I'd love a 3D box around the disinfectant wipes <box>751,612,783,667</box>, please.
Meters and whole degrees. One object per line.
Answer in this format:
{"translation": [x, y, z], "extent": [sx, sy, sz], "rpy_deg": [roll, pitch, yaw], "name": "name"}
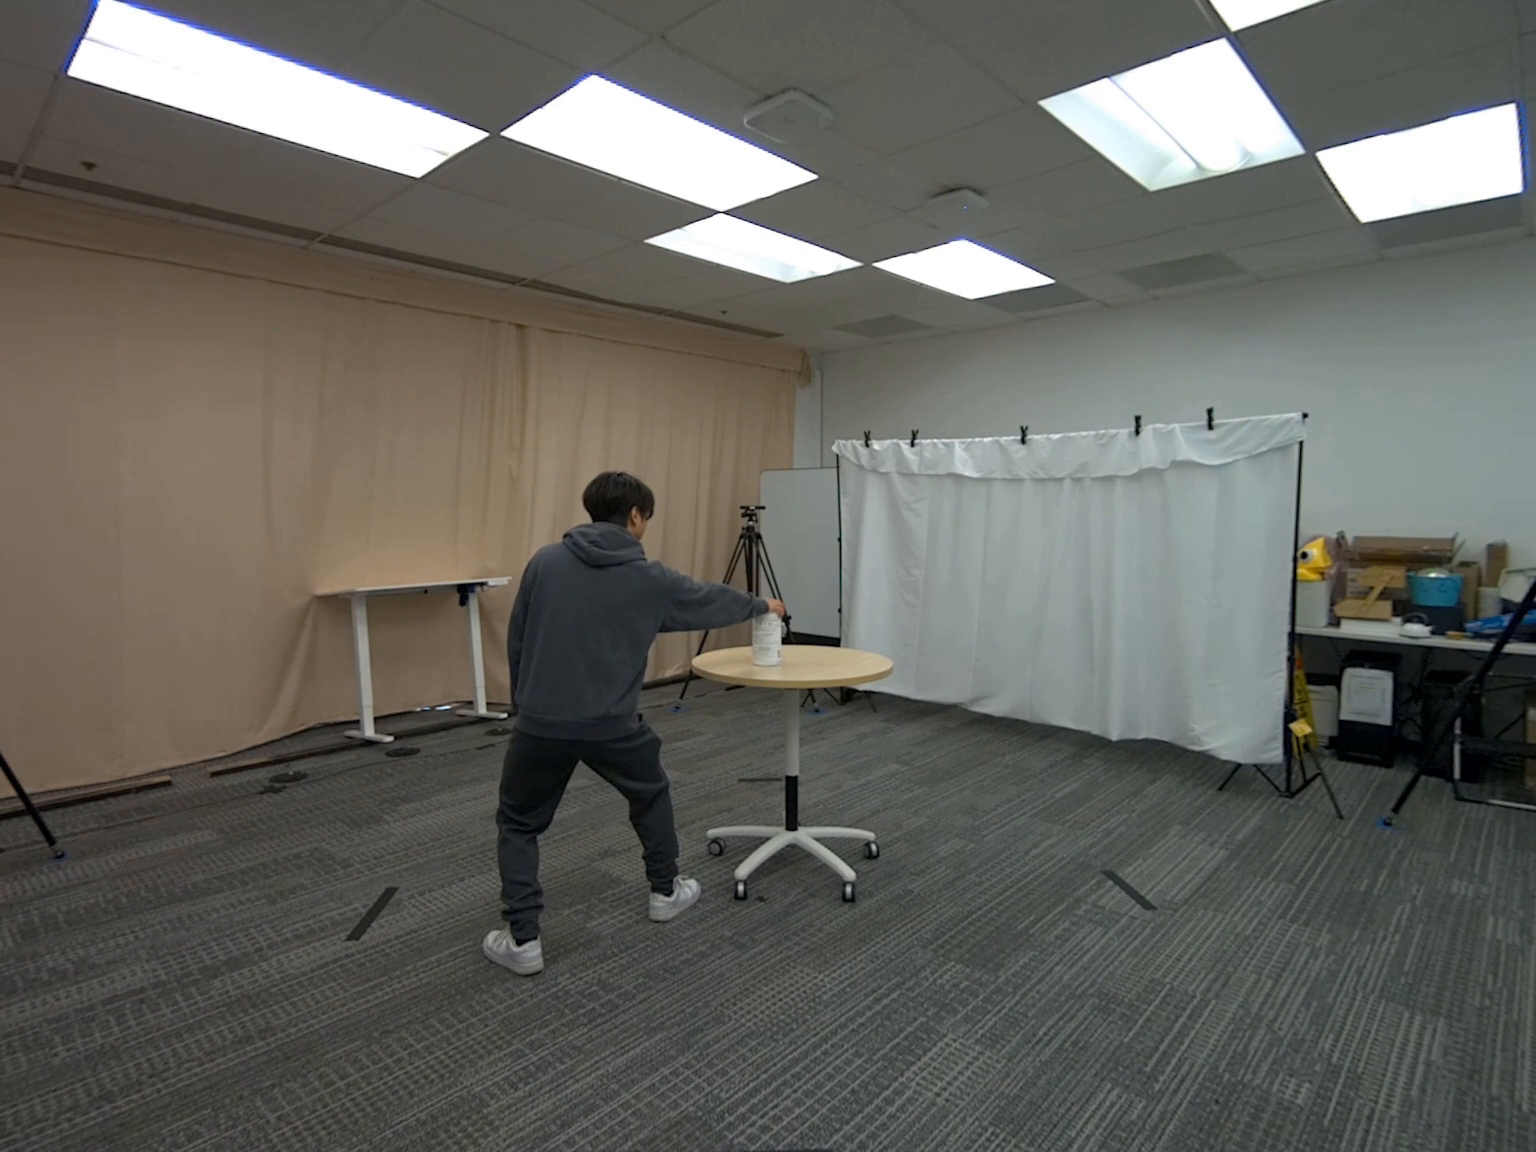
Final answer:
{"translation": [0.000, 0.226, 3.165], "extent": [0.118, 0.217, 0.118], "rpy_deg": [-1, 5, -2], "name": "disinfectant wipes"}
